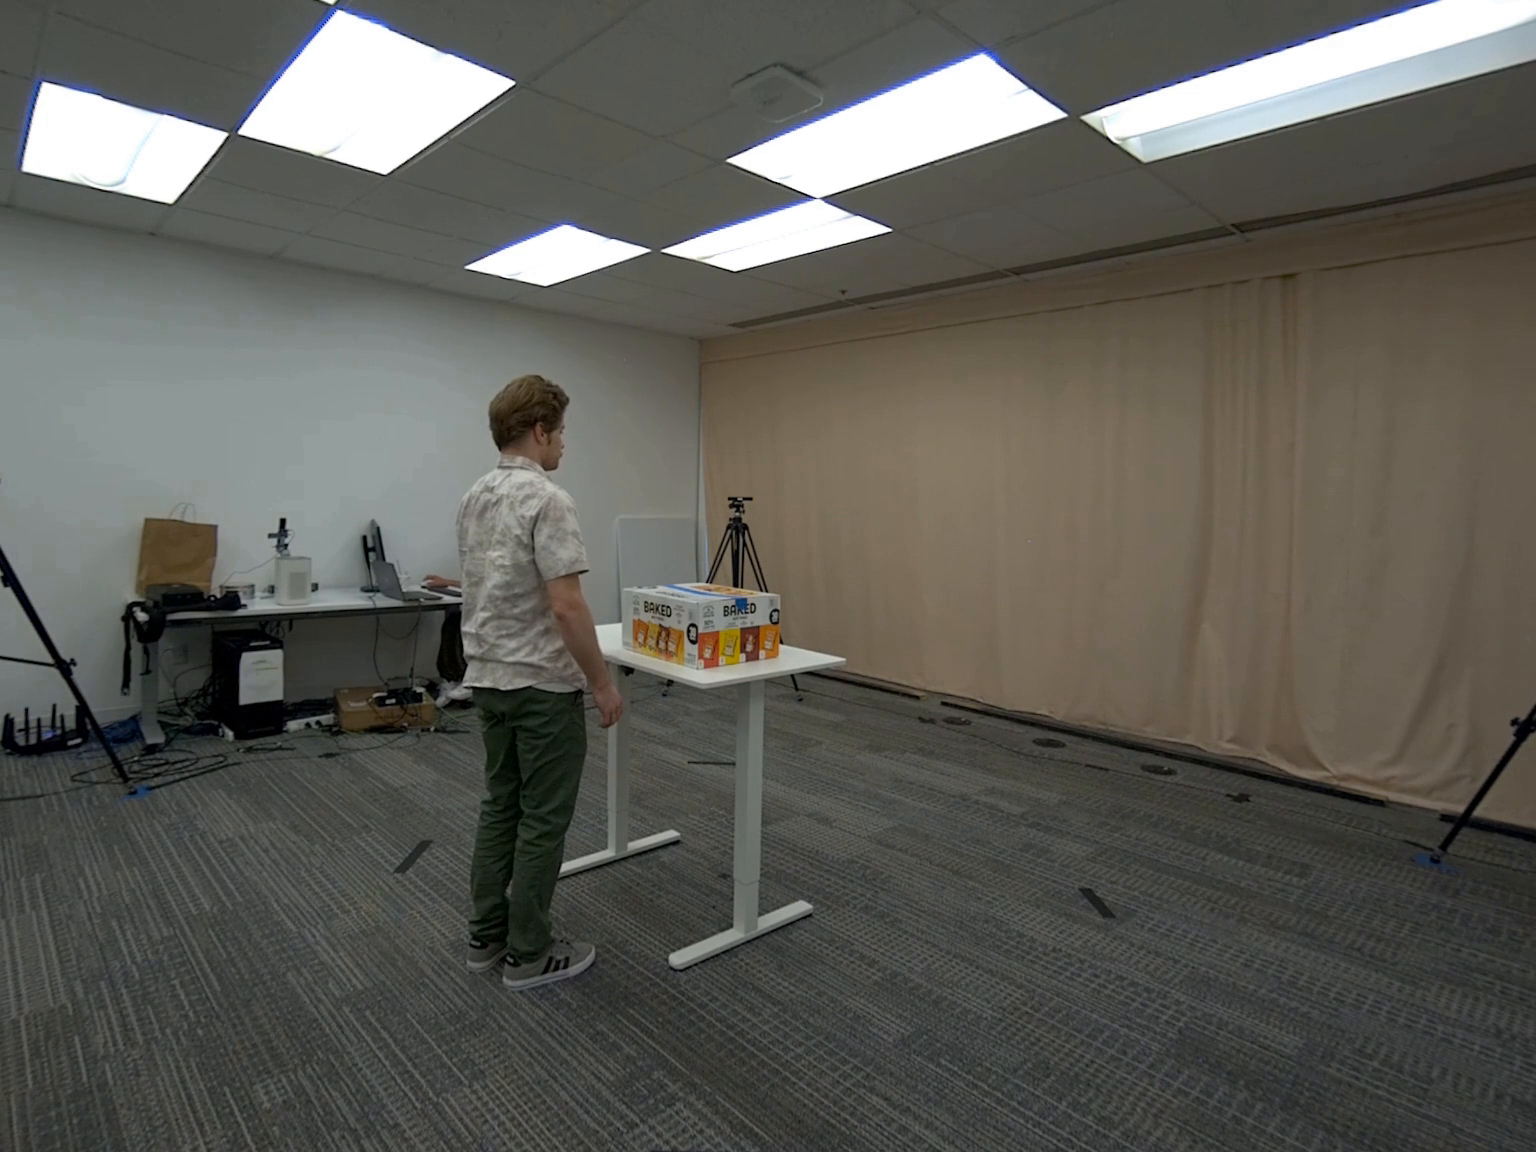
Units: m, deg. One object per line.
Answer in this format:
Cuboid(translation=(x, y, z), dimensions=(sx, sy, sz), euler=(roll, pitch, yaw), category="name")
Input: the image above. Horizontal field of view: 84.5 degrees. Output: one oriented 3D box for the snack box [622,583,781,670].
Cuboid(translation=(-0.229, 0.154, 2.755), dimensions=(0.332, 0.205, 0.416), euler=(-3, 7, -42), category="snack box")
